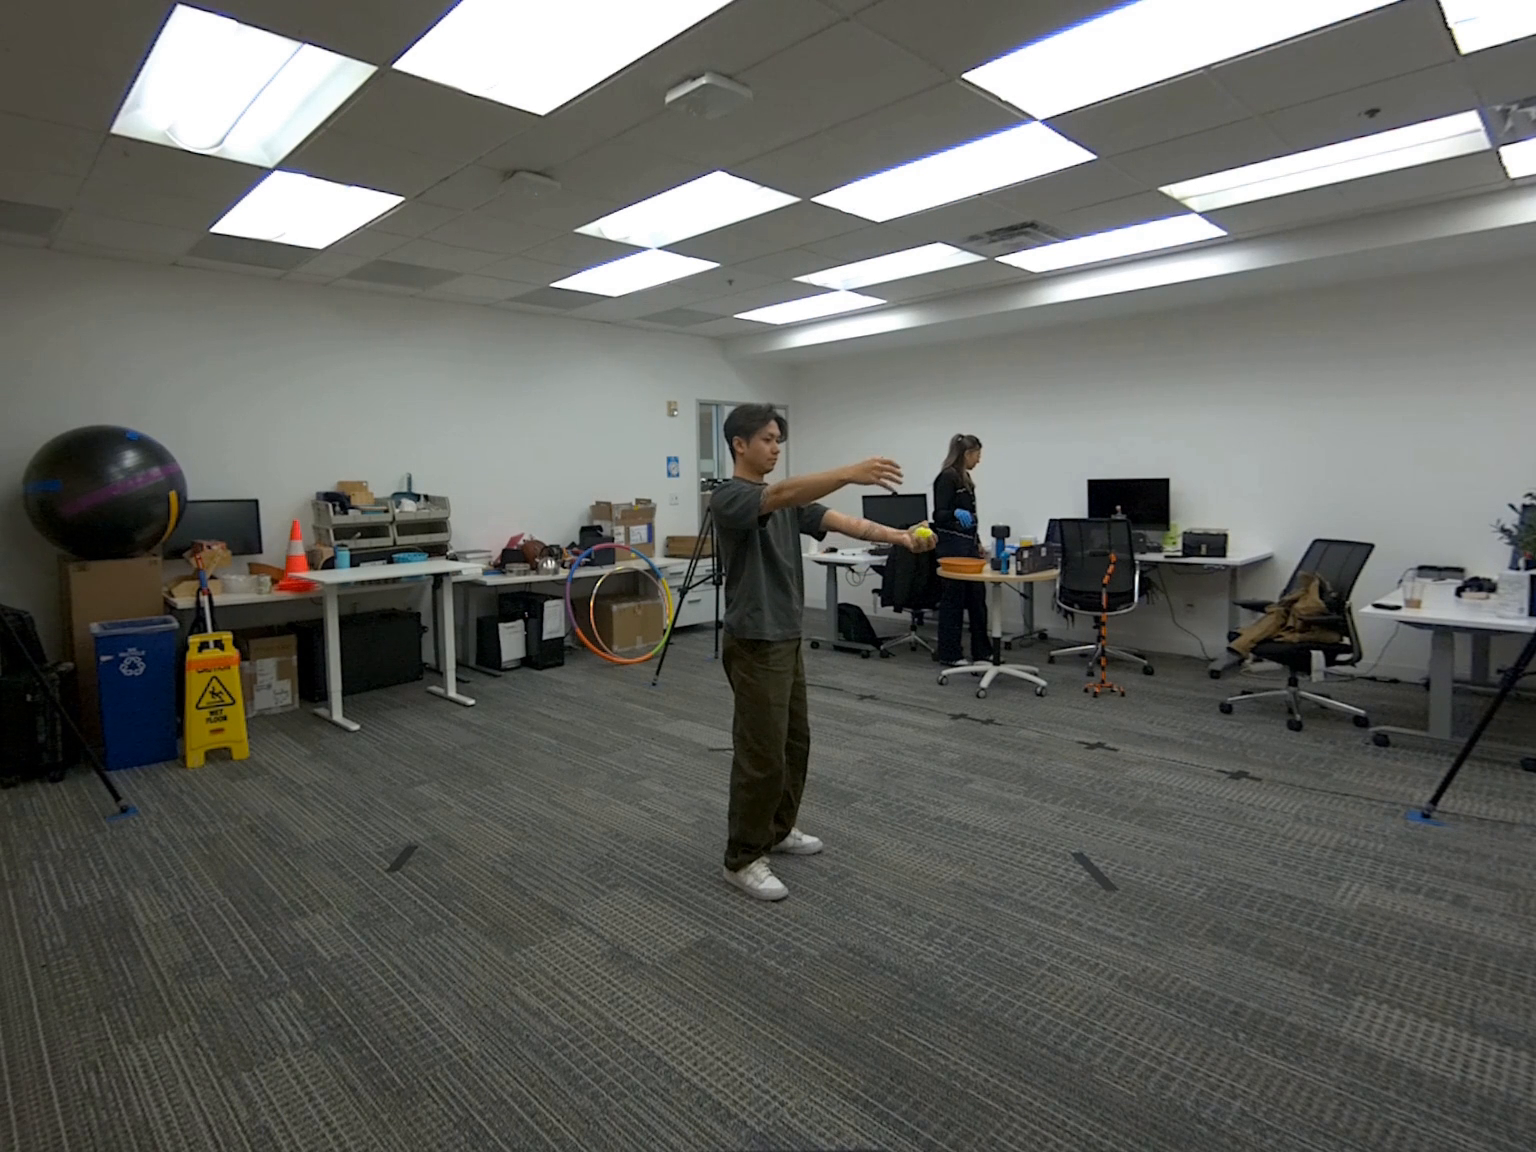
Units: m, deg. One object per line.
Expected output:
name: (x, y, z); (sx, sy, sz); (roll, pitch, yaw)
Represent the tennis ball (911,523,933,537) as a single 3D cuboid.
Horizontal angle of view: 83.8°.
tennis ball: (0.497, -0.125, 2.860); (0.066, 0.066, 0.067); (-1, 5, -2)
